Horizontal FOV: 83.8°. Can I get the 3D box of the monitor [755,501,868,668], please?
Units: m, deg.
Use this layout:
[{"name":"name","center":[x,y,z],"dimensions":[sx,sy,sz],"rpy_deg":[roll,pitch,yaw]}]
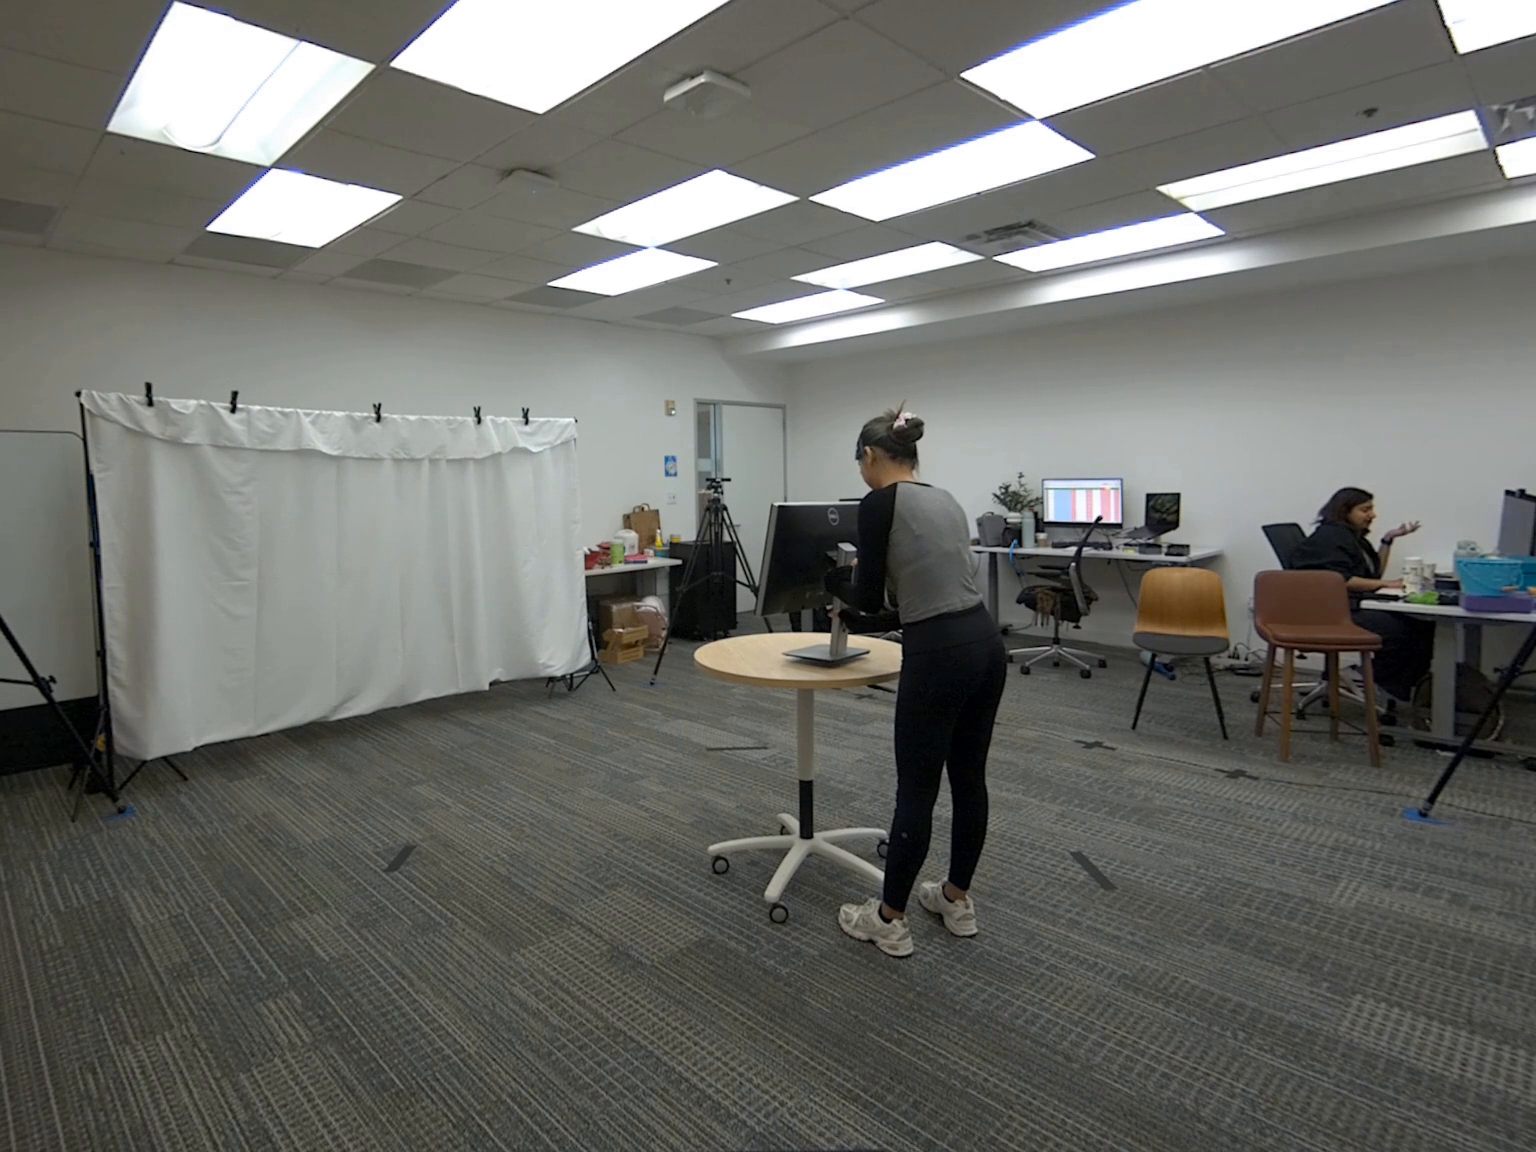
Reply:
[{"name":"monitor","center":[0.196,0.016,2.836],"dimensions":[0.179,0.516,0.516],"rpy_deg":[-6,0,40]}]
